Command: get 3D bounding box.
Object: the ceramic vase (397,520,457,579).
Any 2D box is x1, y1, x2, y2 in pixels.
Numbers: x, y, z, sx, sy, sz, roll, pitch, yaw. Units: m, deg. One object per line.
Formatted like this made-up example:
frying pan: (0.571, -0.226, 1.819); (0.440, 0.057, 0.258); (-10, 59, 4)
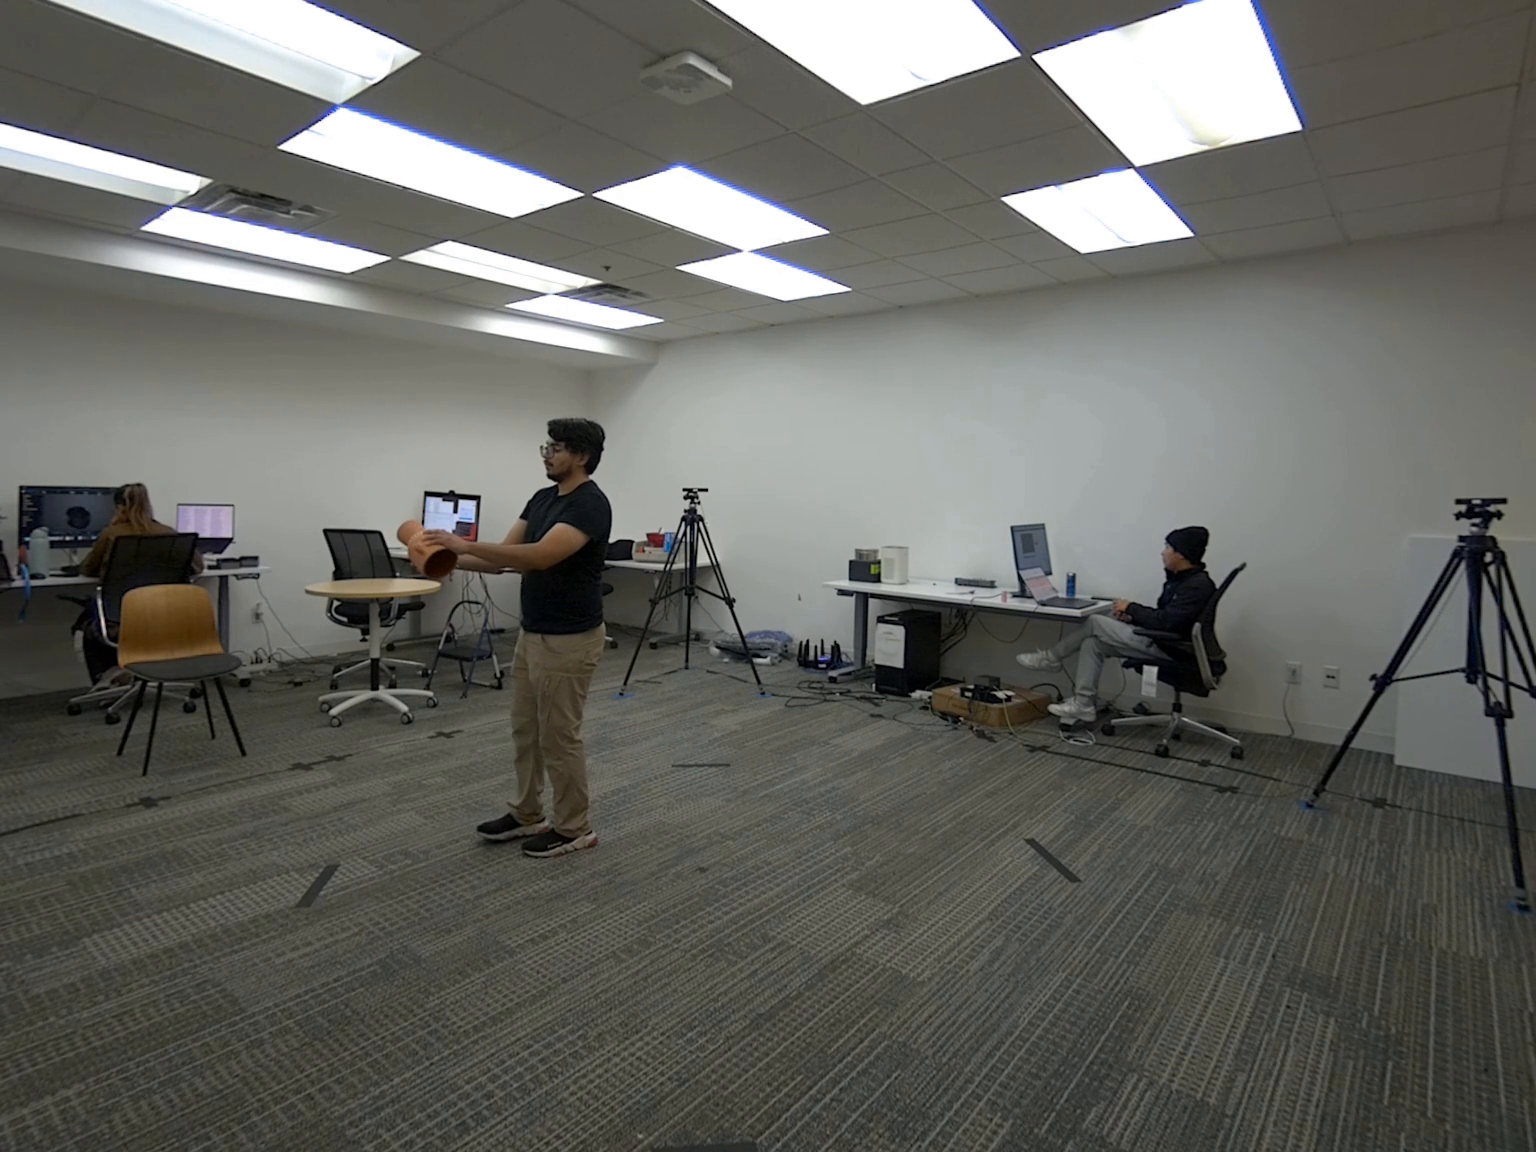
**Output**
ceramic vase: (-1.216, -0.106, 2.969); (0.228, 0.156, 0.132); (38, 37, 29)
